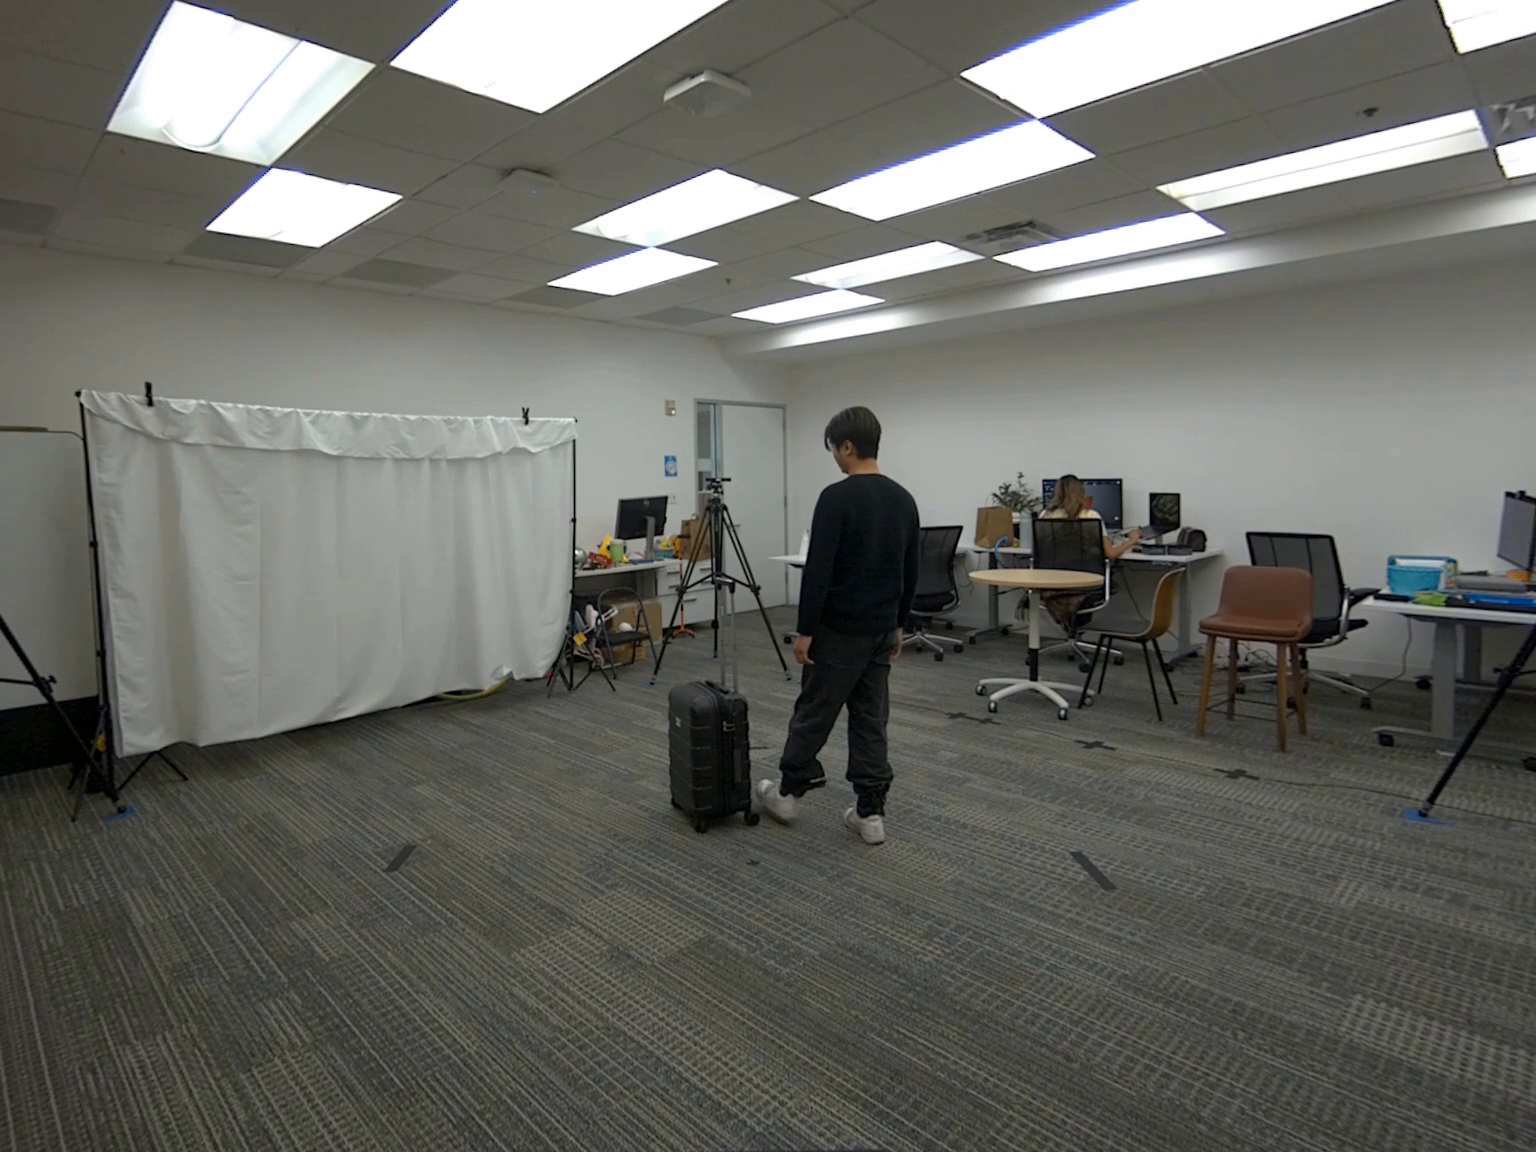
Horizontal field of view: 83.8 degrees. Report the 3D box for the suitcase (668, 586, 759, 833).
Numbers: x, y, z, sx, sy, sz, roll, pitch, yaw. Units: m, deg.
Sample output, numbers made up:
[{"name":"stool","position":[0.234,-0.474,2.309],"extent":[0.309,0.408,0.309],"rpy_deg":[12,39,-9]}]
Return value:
[{"name":"suitcase","position":[-0.258,0.522,3.518],"extent":[0.253,0.975,0.392],"rpy_deg":[-5,4,-21]}]
